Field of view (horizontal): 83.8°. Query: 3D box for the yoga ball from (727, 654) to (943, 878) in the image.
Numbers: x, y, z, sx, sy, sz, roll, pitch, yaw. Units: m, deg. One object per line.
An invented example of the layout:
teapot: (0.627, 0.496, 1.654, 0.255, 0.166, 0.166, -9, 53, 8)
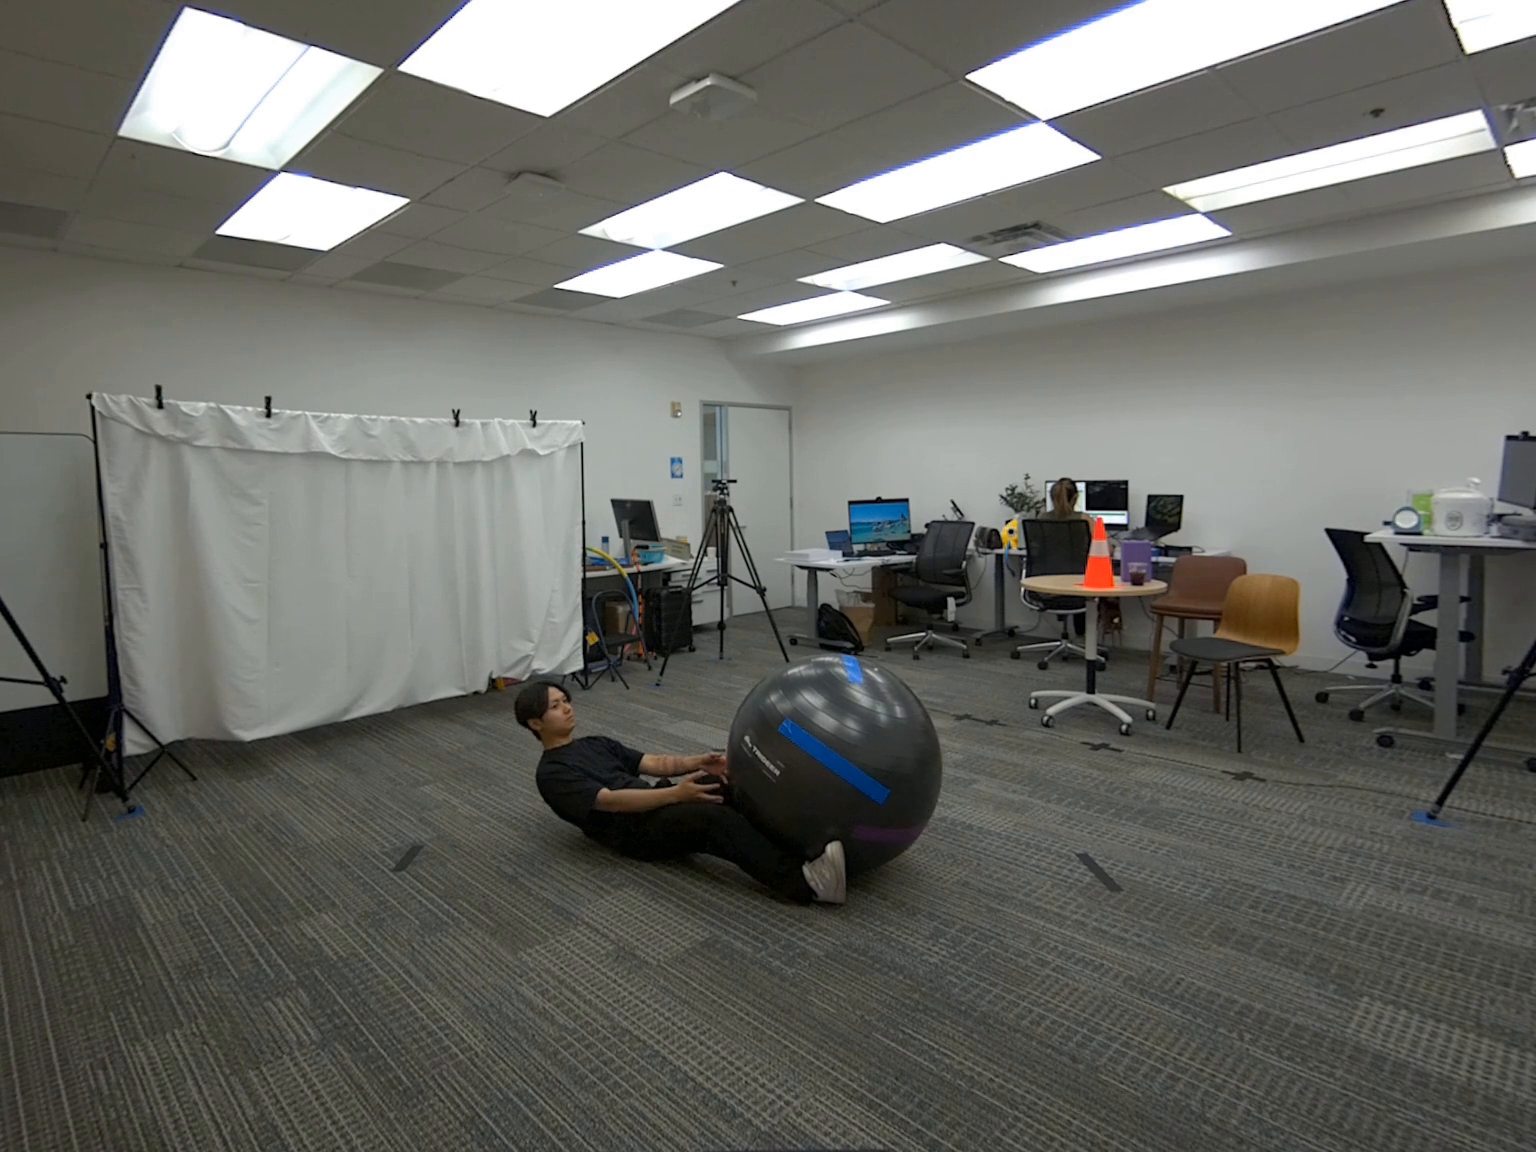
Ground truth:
yoga ball: (0.230, 0.666, 3.059, 0.757, 0.755, 0.762, -1, 5, -2)
